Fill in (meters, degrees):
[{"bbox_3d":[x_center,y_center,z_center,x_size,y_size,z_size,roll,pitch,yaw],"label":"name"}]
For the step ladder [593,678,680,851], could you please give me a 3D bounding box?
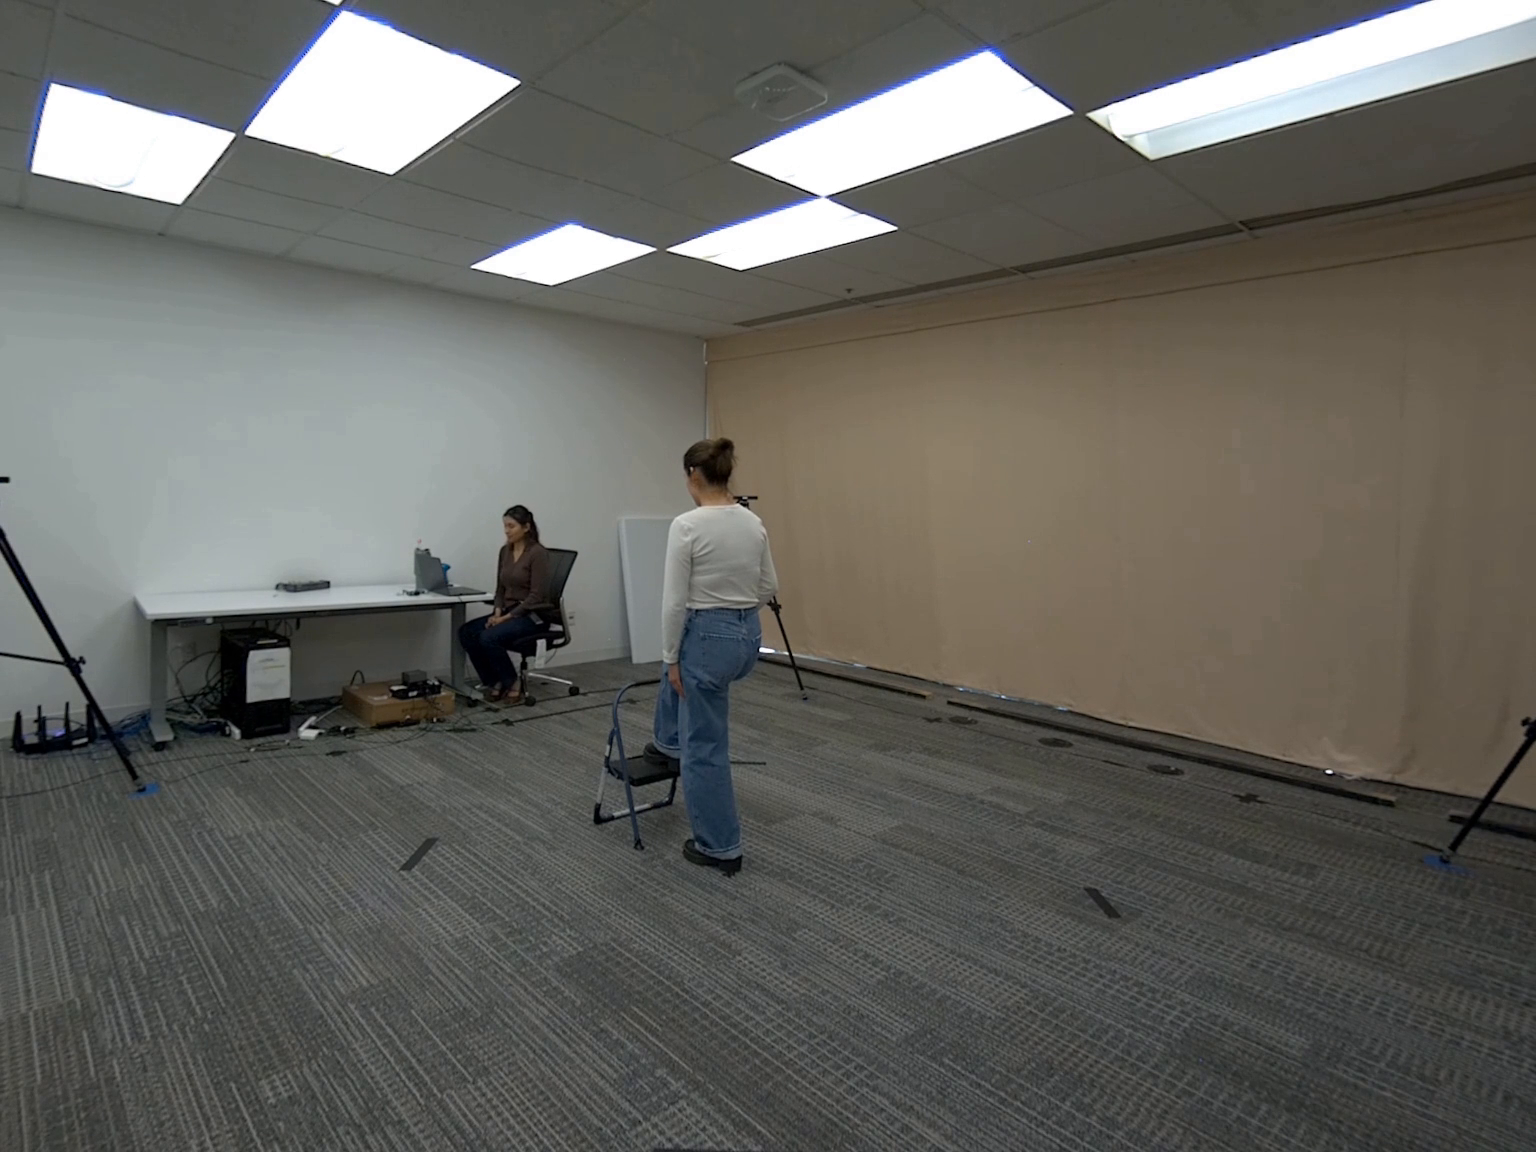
[{"bbox_3d":[-0.475,0.754,3.555,0.420,0.605,0.358,-1,4,-44],"label":"step ladder"}]
